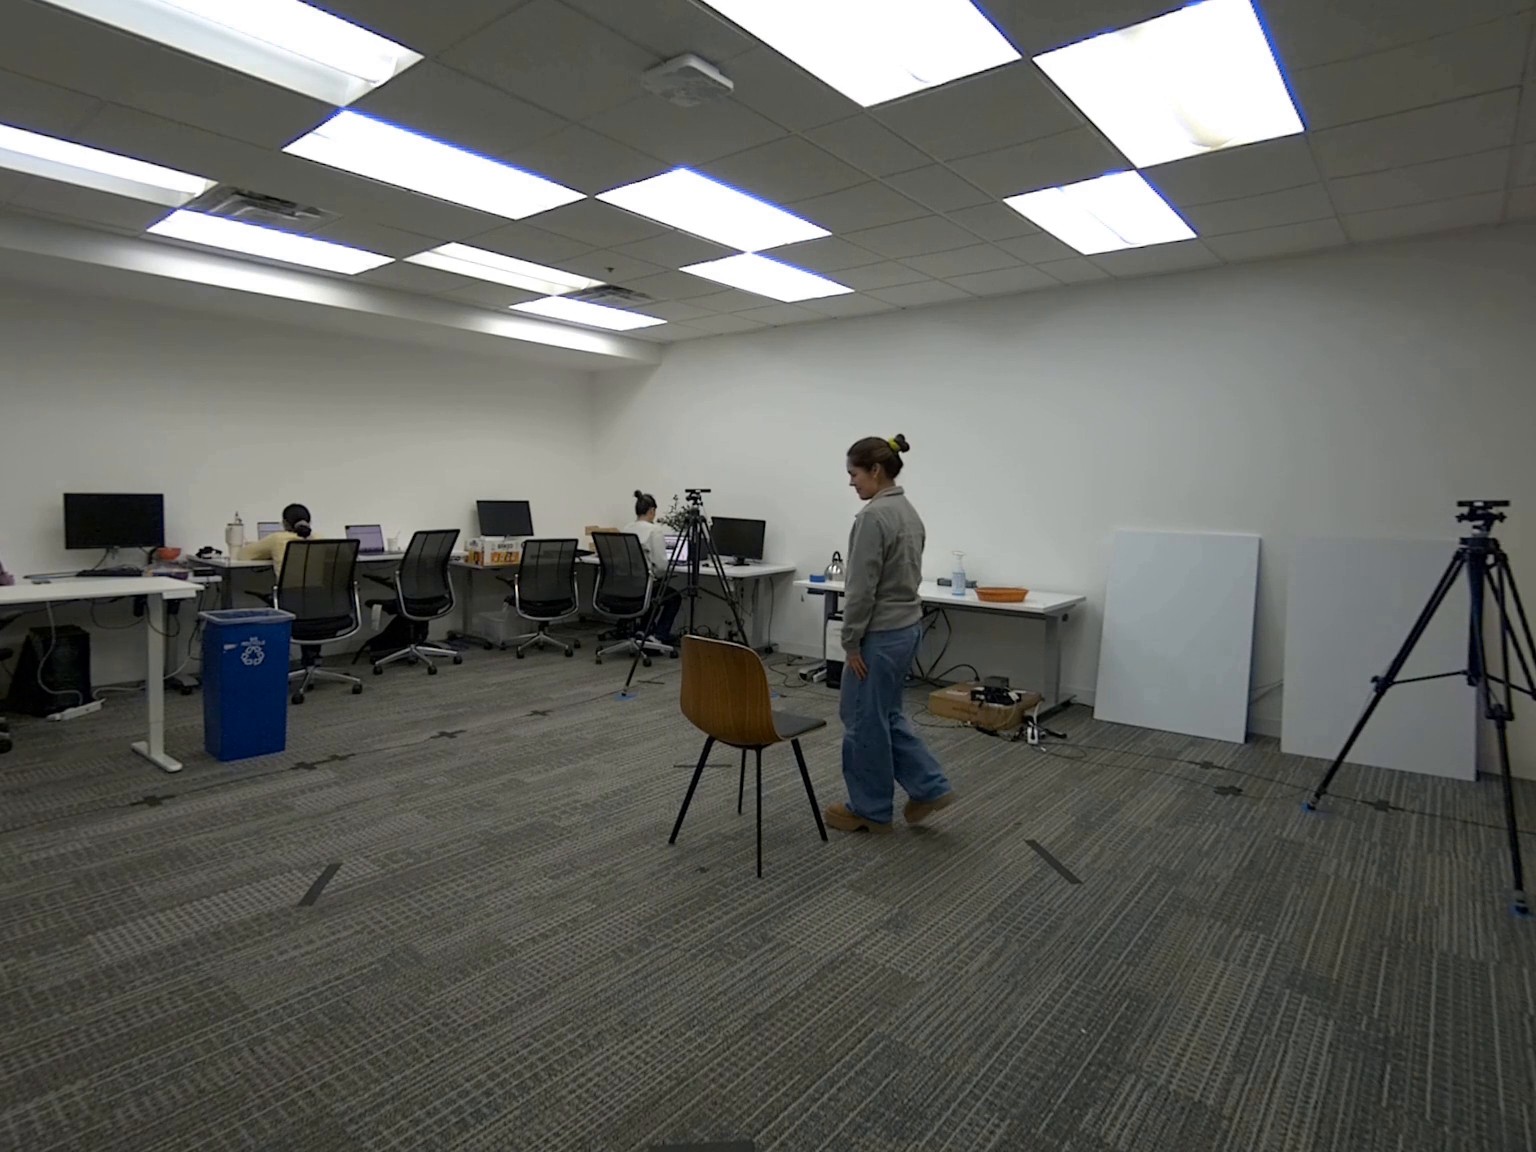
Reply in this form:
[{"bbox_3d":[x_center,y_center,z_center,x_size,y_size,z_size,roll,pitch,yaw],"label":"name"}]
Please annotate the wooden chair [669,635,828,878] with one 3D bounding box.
[{"bbox_3d":[-0.073,0.624,3.343,0.494,0.872,0.510,3,8,38],"label":"wooden chair"}]
